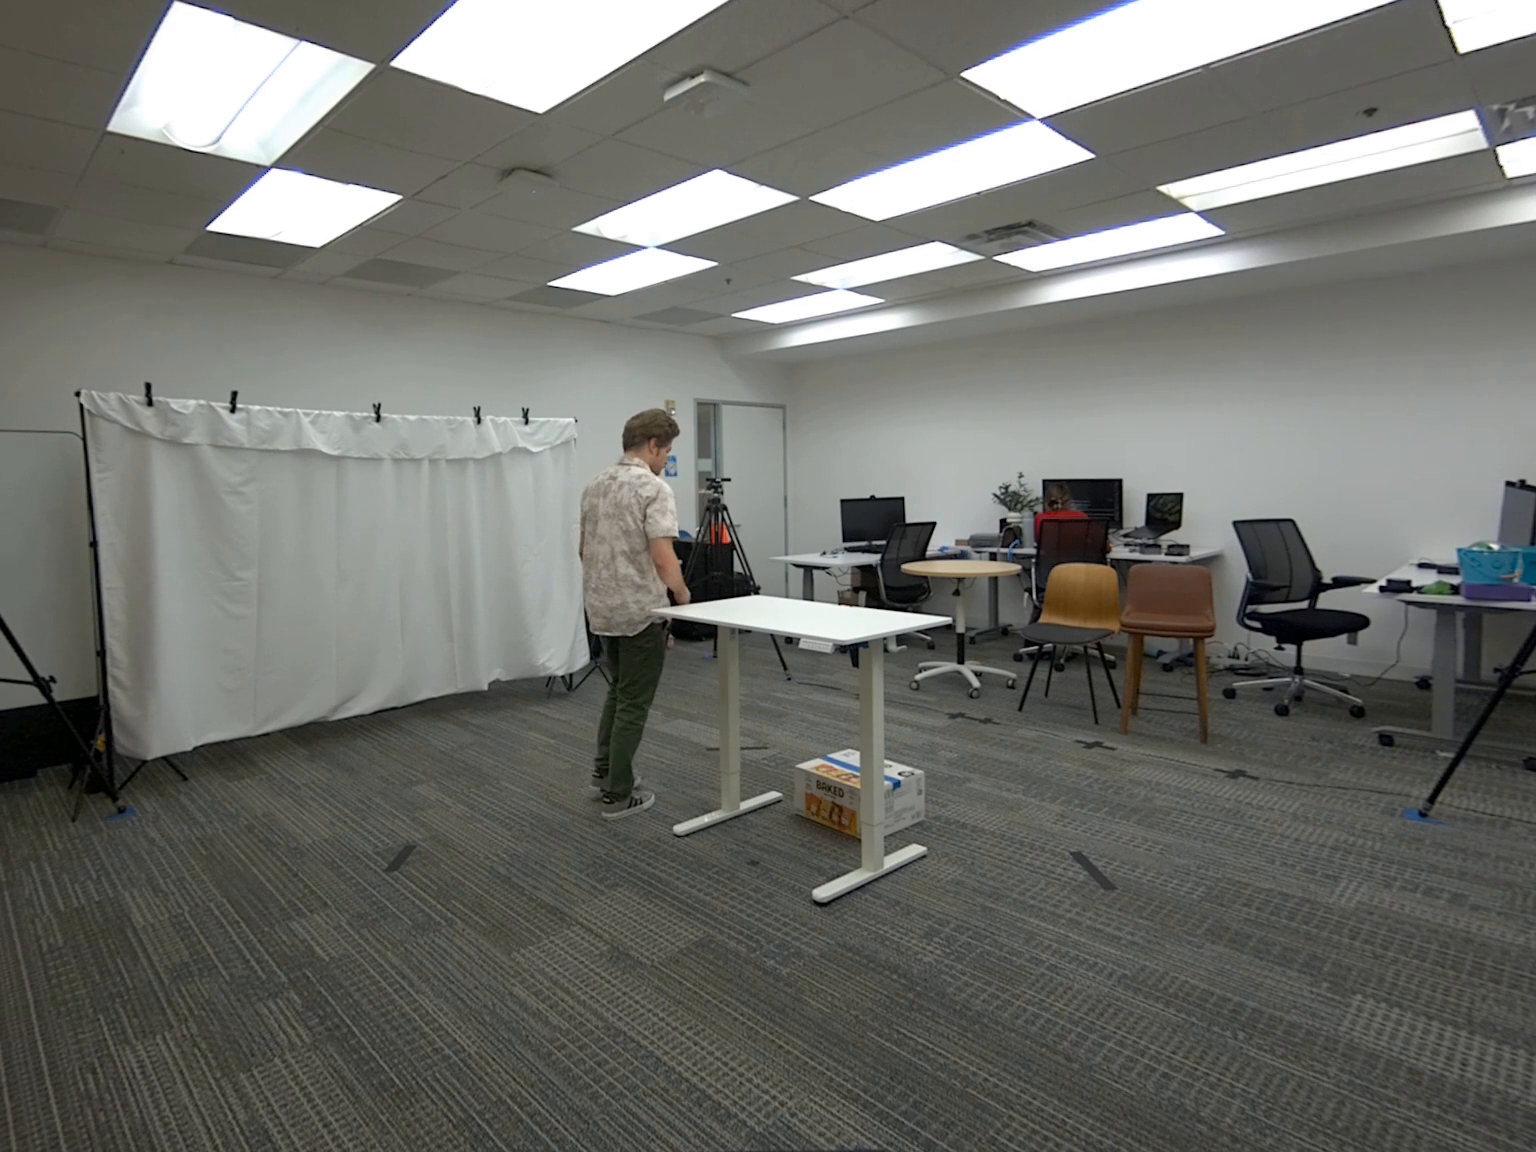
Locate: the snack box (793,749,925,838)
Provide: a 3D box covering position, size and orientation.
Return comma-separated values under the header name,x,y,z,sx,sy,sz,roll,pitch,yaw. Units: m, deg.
name,x,y,z,sx,sy,sz,roll,pitch,yaw
snack box,0.375,0.890,3.499,0.331,0.205,0.418,-6,8,-41
